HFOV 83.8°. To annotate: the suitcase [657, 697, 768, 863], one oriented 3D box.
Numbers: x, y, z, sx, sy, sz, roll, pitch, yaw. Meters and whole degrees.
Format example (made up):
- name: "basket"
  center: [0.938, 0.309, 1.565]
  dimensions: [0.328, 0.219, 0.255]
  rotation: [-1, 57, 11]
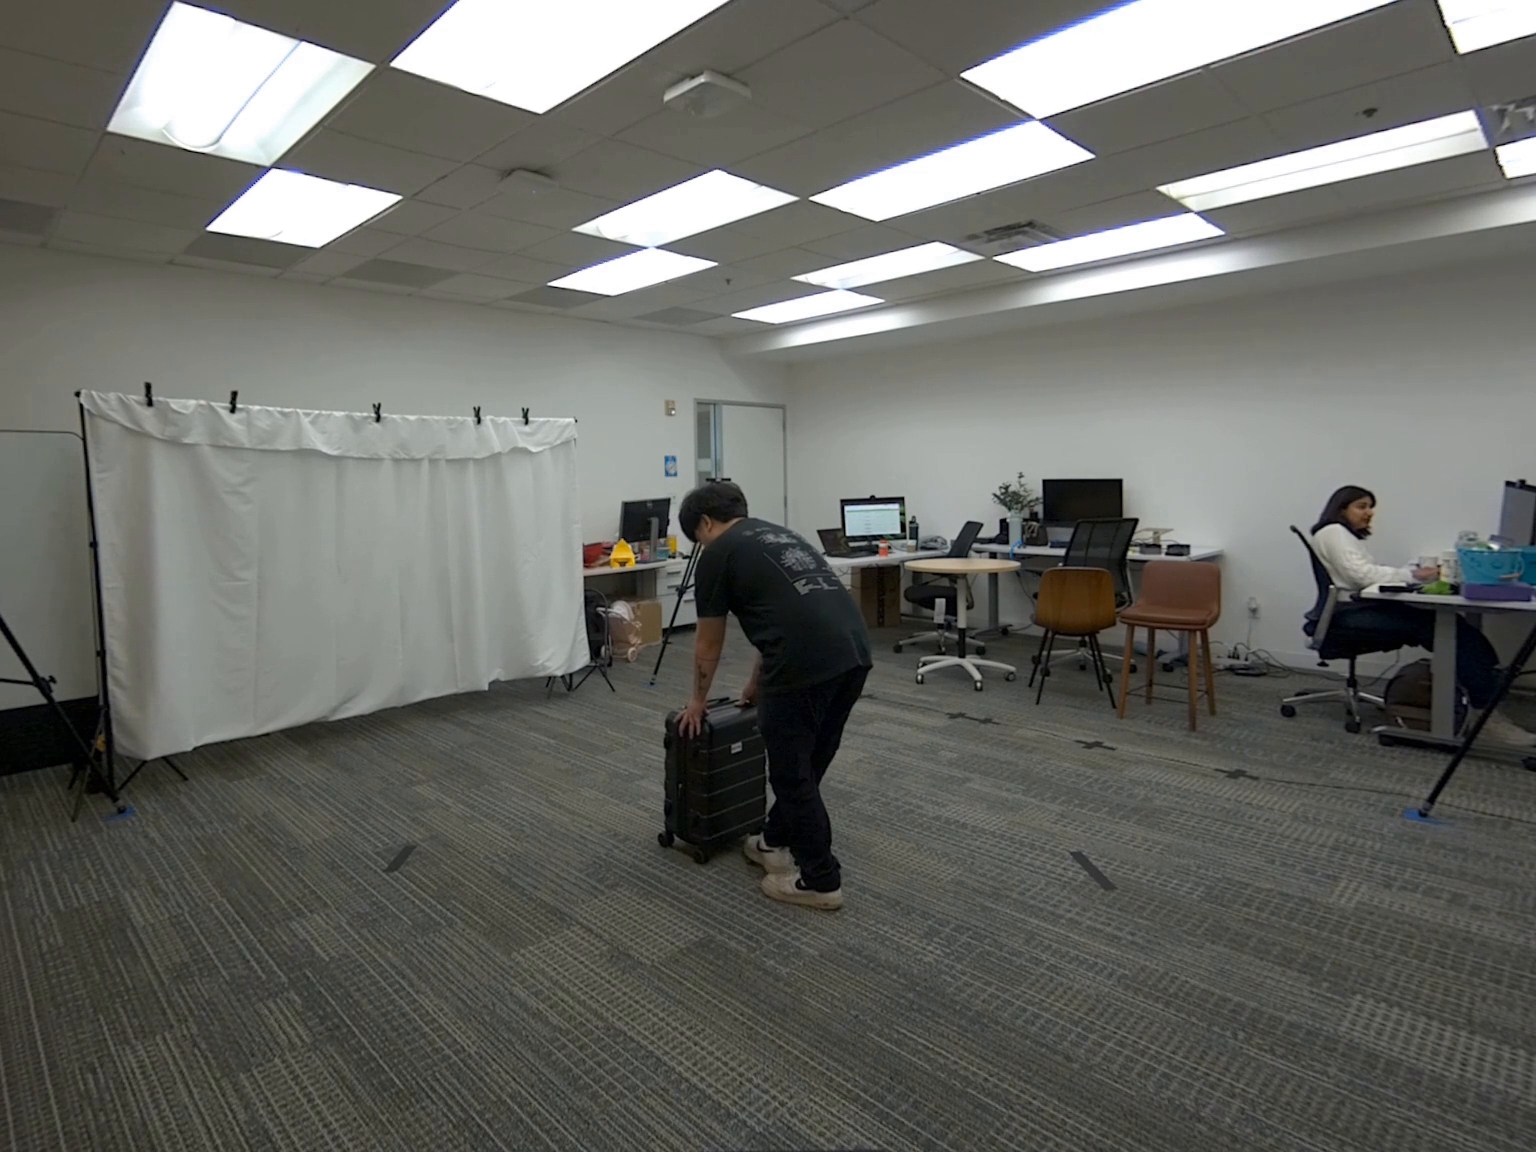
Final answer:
- name: "suitcase"
  center: [-0.199, 0.754, 3.259]
  dimensions: [0.365, 0.547, 0.256]
  rotation: [-4, 8, -44]
